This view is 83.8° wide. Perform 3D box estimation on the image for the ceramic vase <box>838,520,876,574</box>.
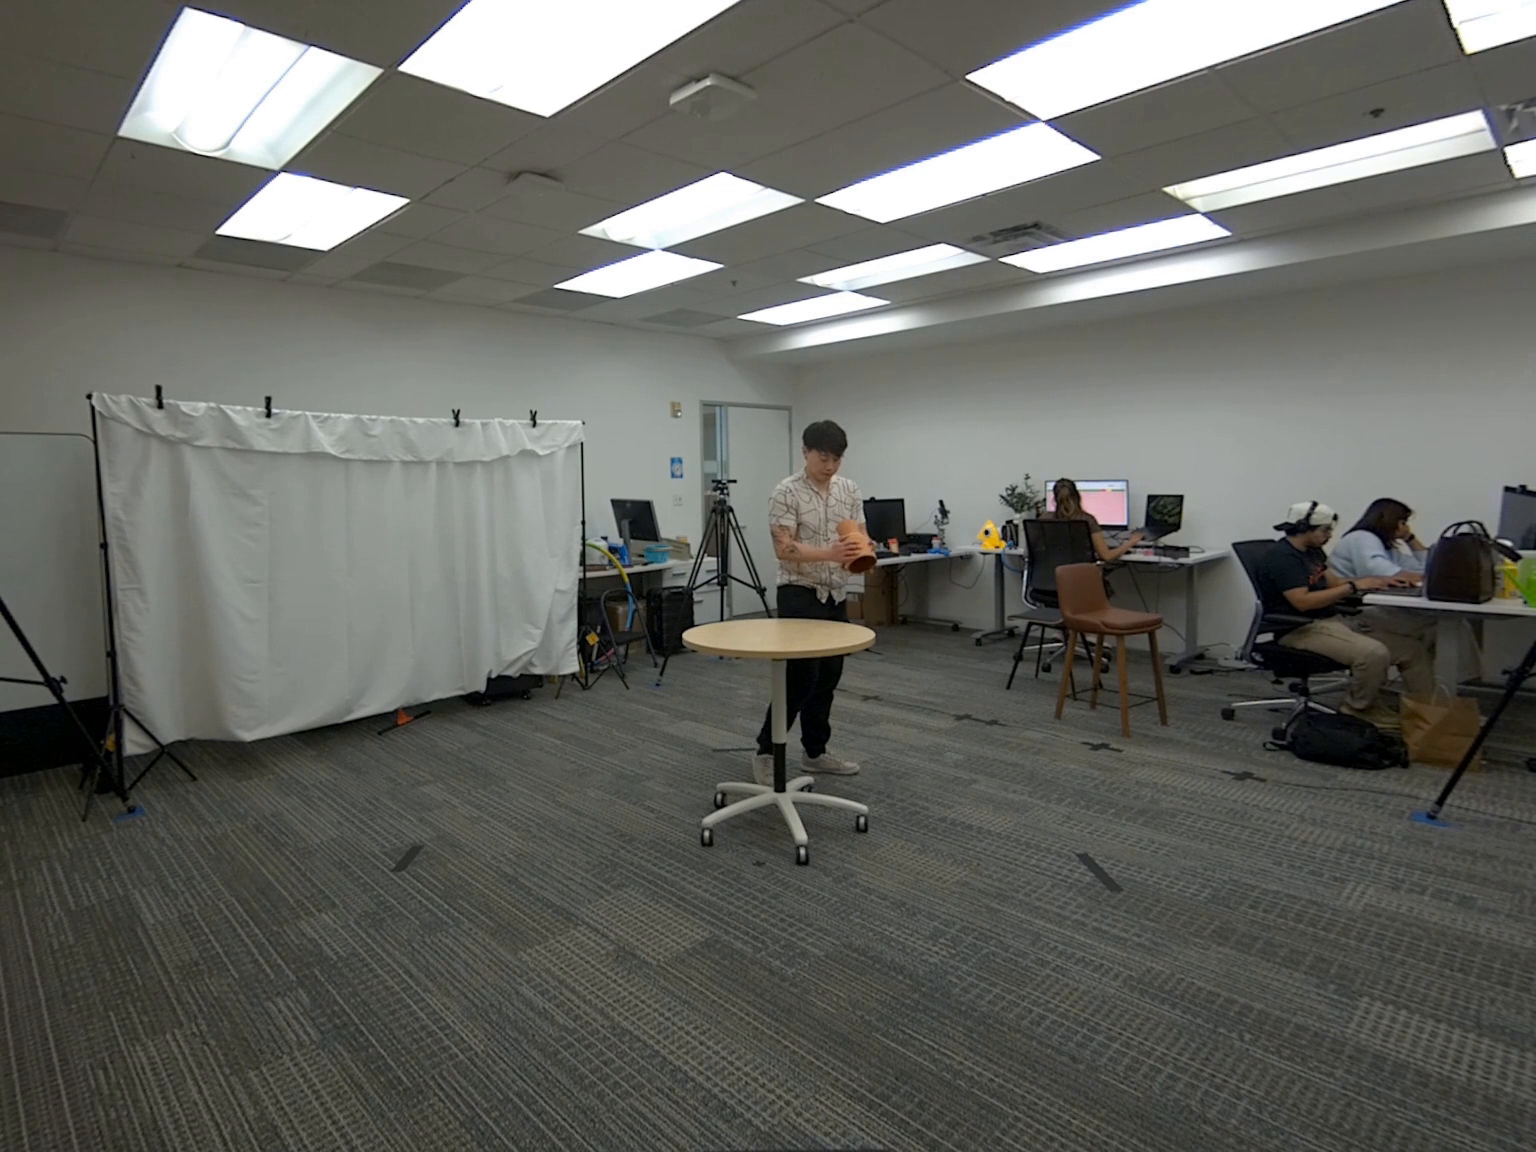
[{"bbox_3d":[0.364,-0.131,3.707,0.159,0.227,0.130,-16,-37,-1],"label":"ceramic vase"}]
